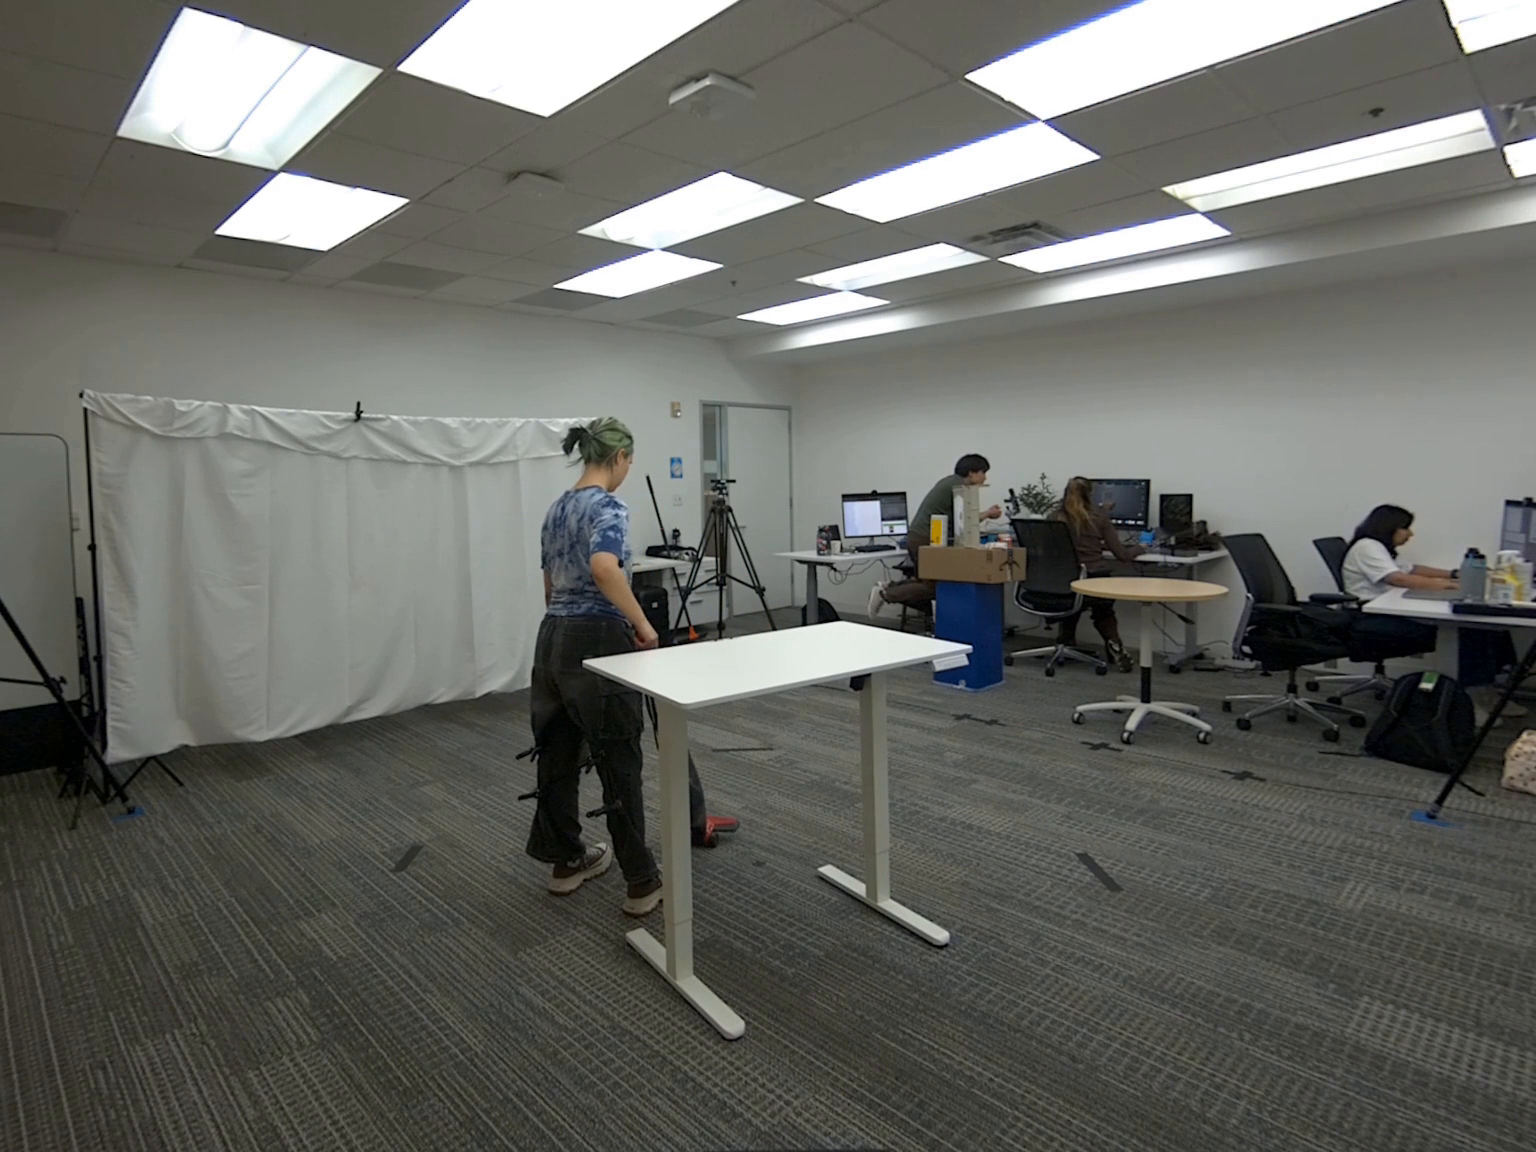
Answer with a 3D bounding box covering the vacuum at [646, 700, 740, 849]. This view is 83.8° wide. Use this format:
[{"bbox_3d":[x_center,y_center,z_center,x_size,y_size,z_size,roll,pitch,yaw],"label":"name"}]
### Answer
[{"bbox_3d":[-0.325,0.607,3.048,0.257,1.017,0.146,0,37,17],"label":"vacuum"}]
